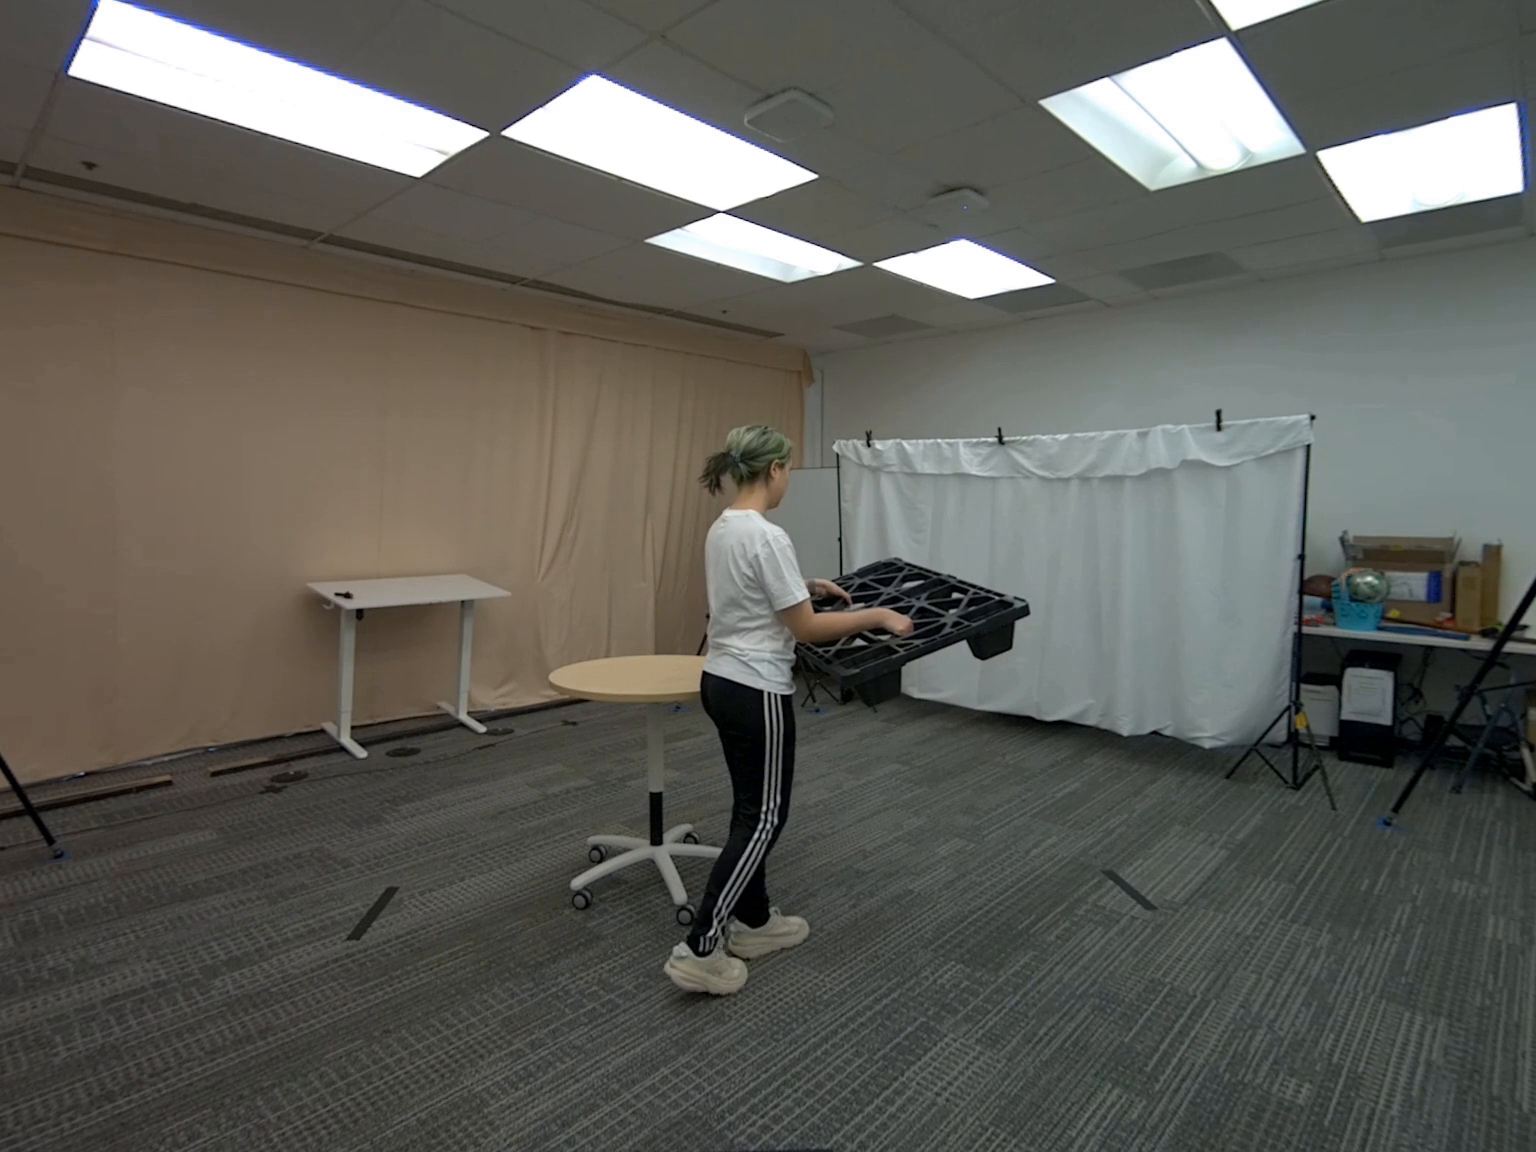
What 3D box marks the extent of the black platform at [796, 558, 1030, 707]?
[{"bbox_3d":[0.354,0.158,2.686,0.598,0.141,0.826,-19,17,-15],"label":"black platform"}]
